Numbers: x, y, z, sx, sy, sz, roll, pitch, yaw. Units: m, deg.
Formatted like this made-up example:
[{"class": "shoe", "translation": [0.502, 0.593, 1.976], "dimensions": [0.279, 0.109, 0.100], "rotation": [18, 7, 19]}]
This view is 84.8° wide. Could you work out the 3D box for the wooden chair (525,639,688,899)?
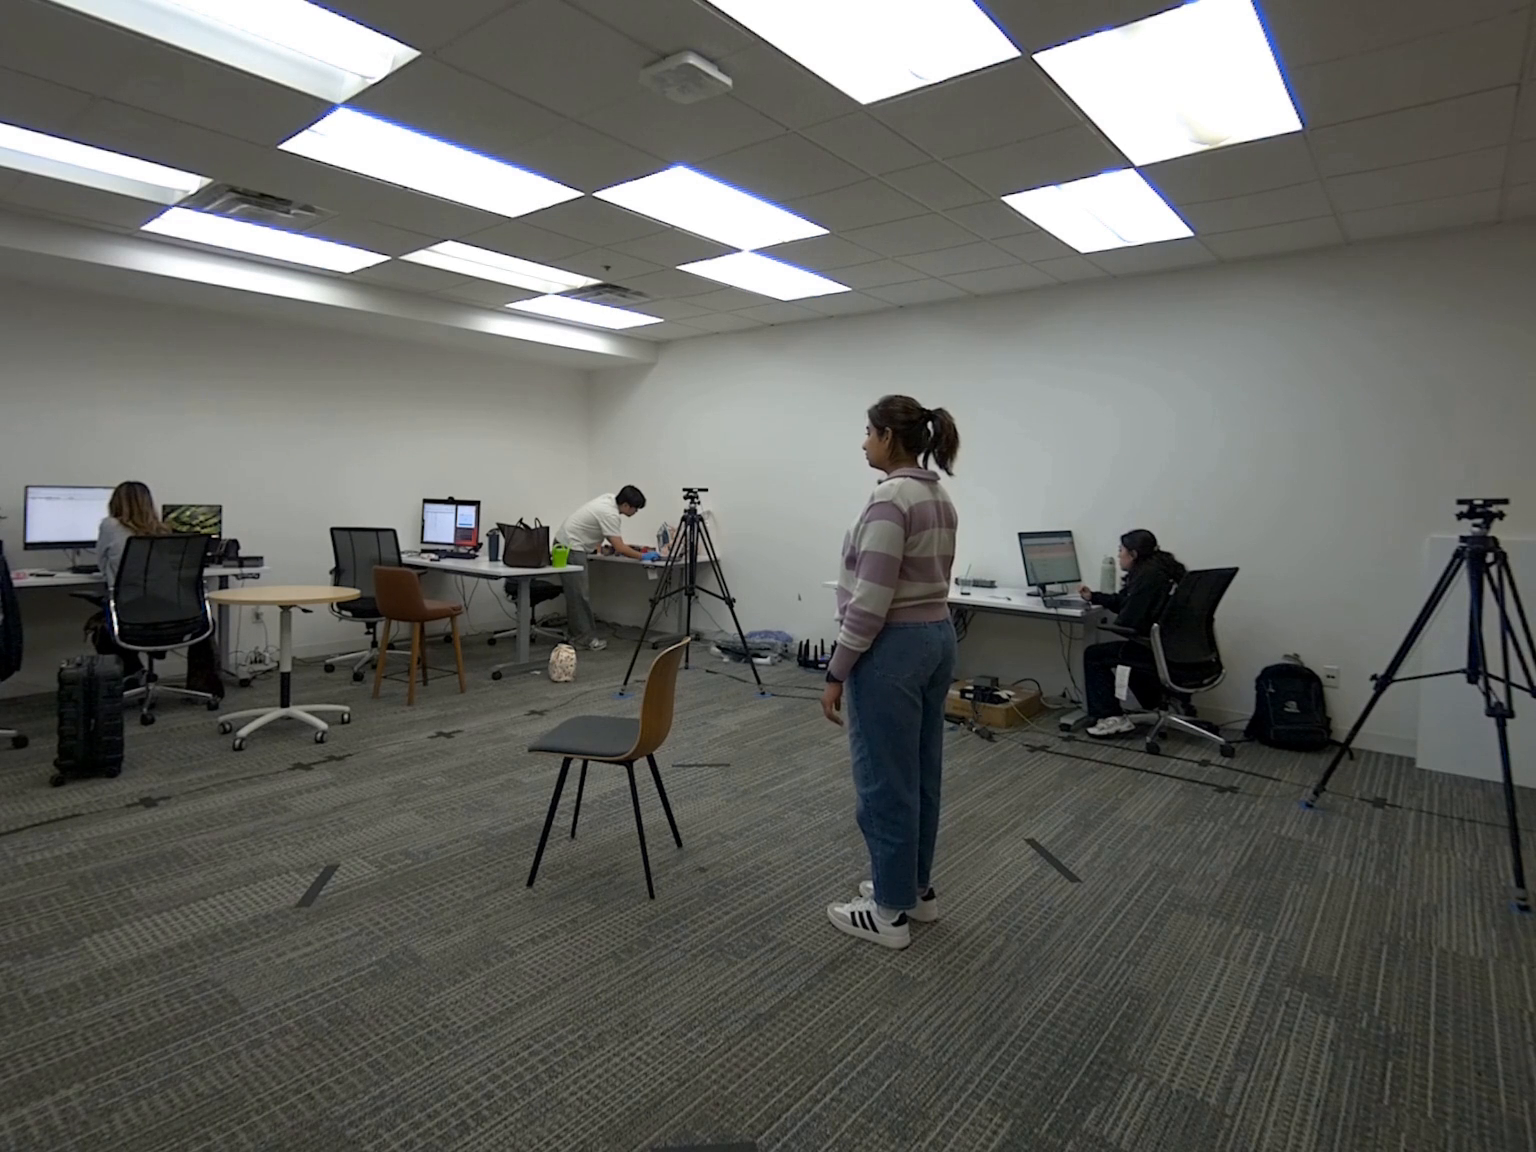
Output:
[{"class": "wooden chair", "translation": [-0.594, 0.636, 3.100], "dimensions": [0.529, 0.875, 0.474], "rotation": [5, 4, 9]}]
